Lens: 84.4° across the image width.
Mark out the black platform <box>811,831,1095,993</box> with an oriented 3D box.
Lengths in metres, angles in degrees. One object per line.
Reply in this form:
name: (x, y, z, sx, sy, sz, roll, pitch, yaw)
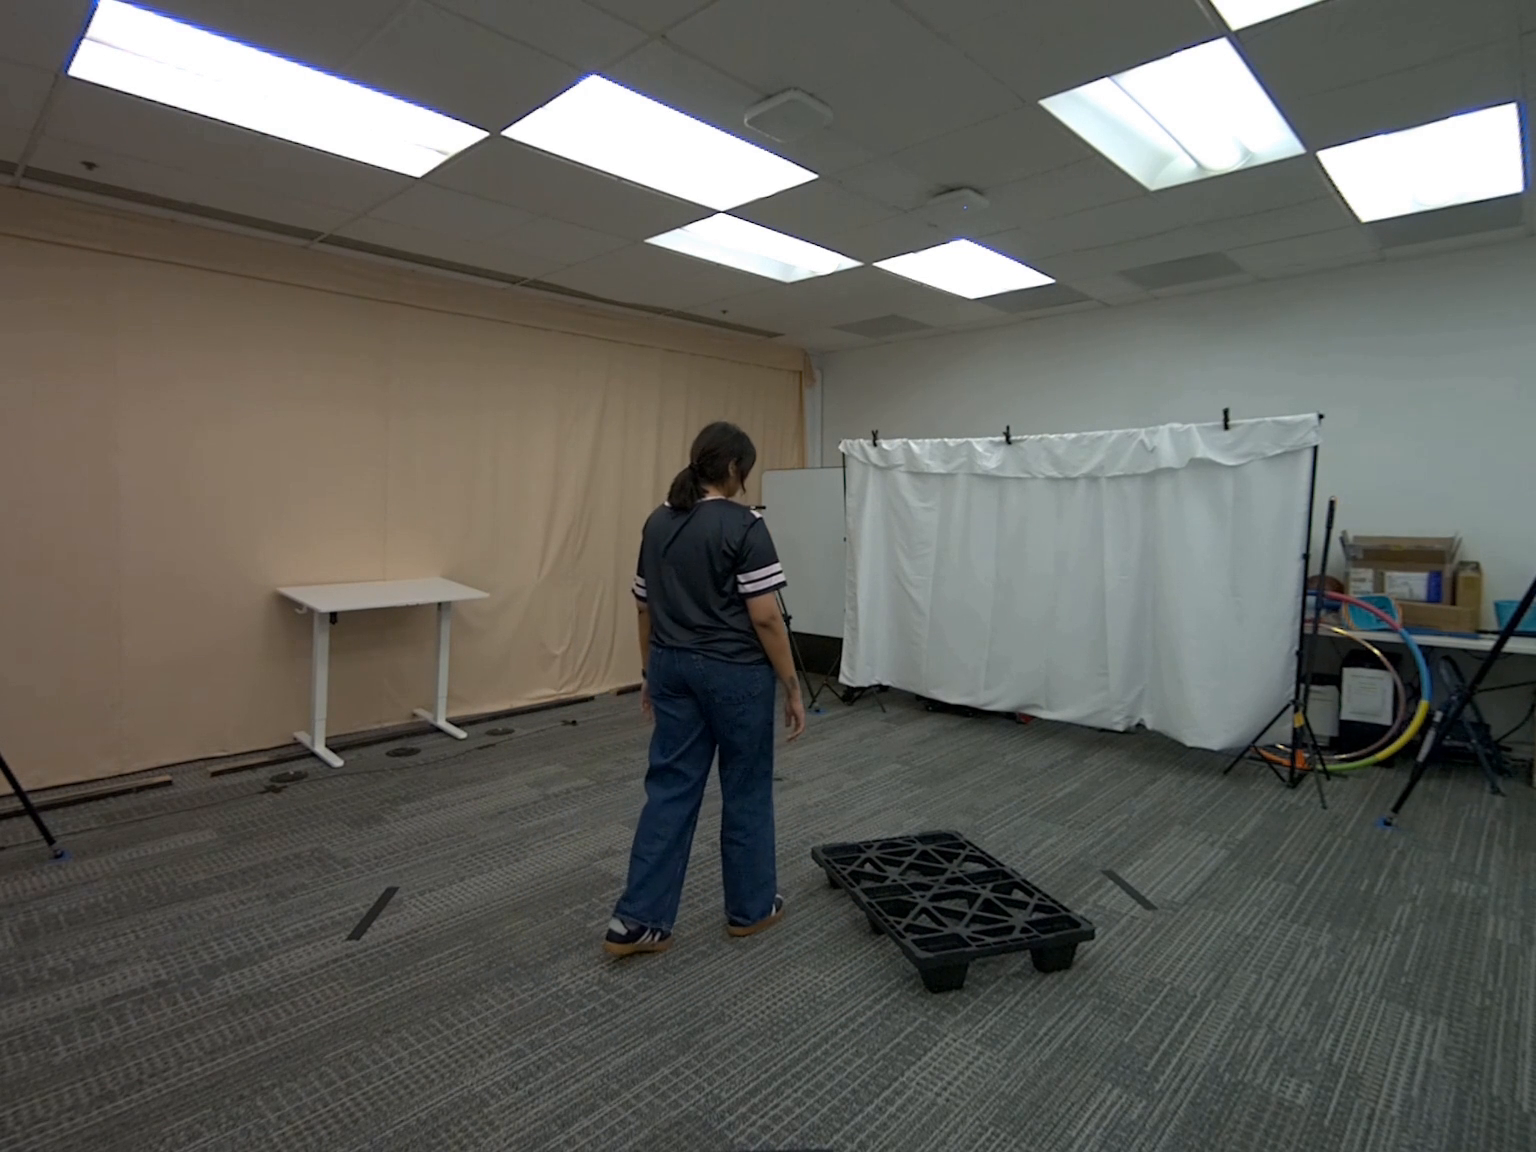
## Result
black platform: (0.574, 1.089, 2.810, 0.595, 0.143, 0.822, -1, 5, -18)
